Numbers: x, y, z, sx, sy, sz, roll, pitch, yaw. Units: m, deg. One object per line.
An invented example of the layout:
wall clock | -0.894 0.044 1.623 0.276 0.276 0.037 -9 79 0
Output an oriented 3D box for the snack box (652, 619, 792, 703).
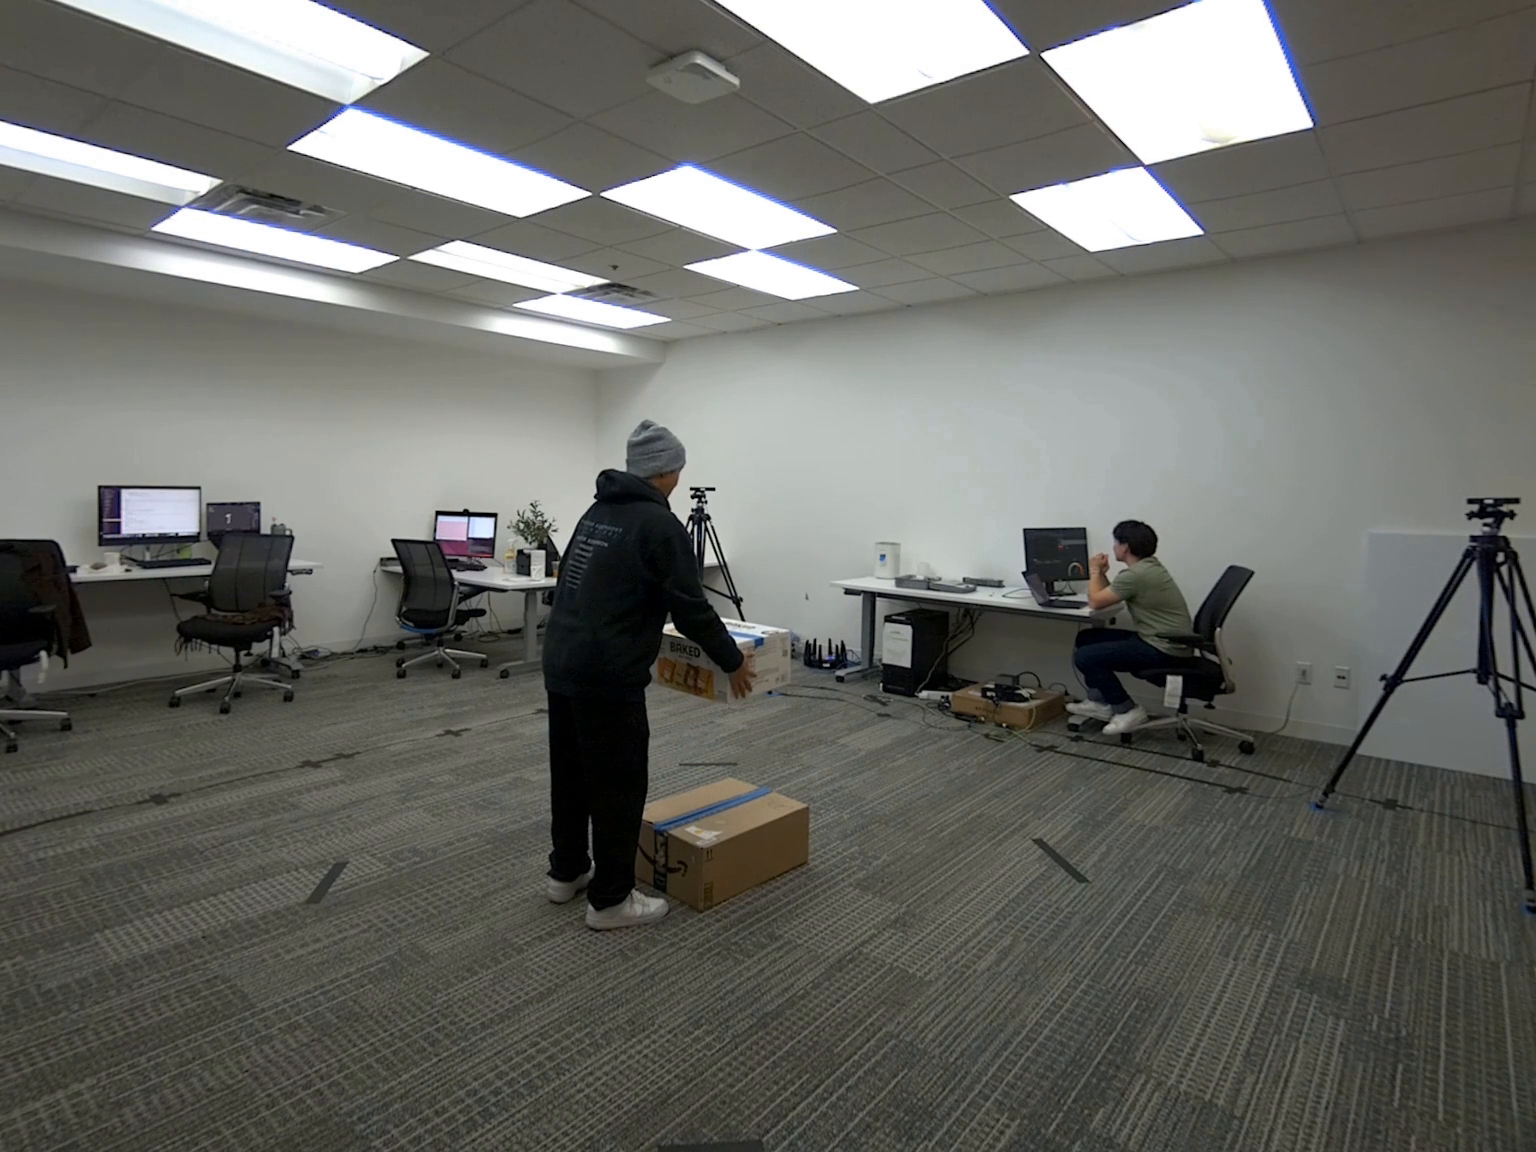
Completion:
snack box | -0.189 0.293 3.097 0.419 0.204 0.331 7 11 41
